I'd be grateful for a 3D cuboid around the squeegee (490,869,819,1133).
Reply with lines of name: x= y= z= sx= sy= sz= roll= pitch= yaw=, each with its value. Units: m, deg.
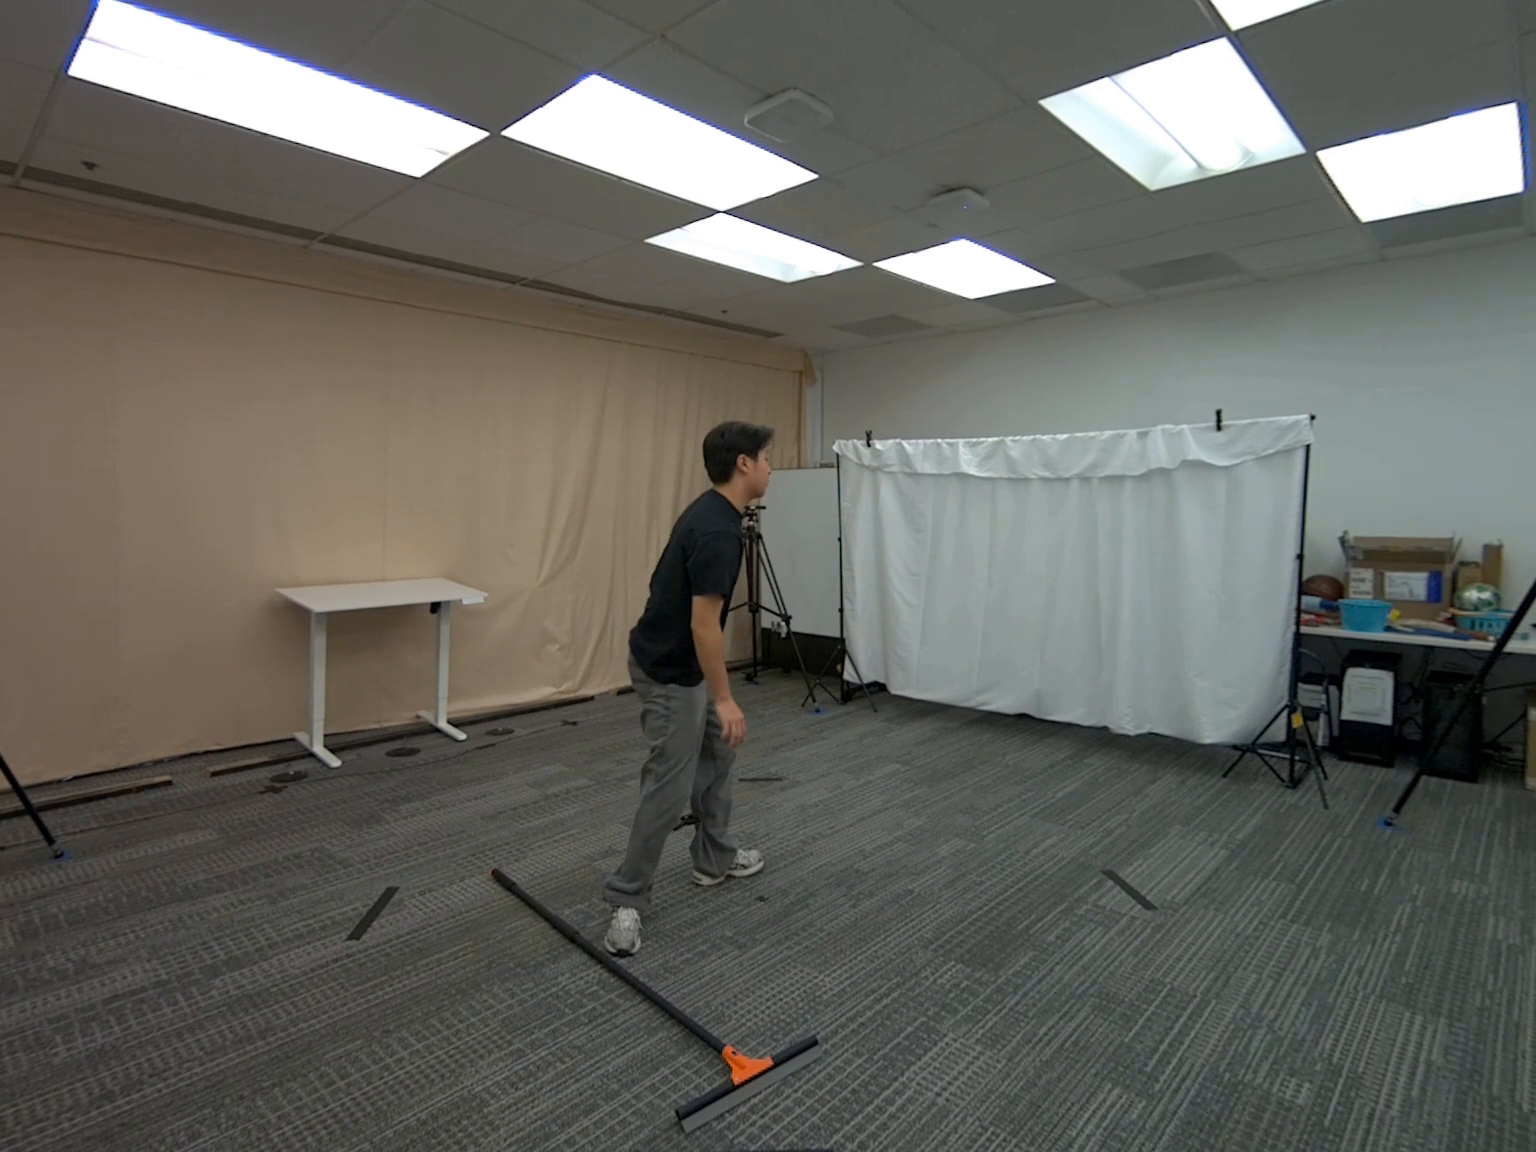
squeegee: x=-0.531 y=1.137 z=2.596 sx=0.424 sy=0.053 sz=1.589 roll=-4 pitch=6 yaw=-41
